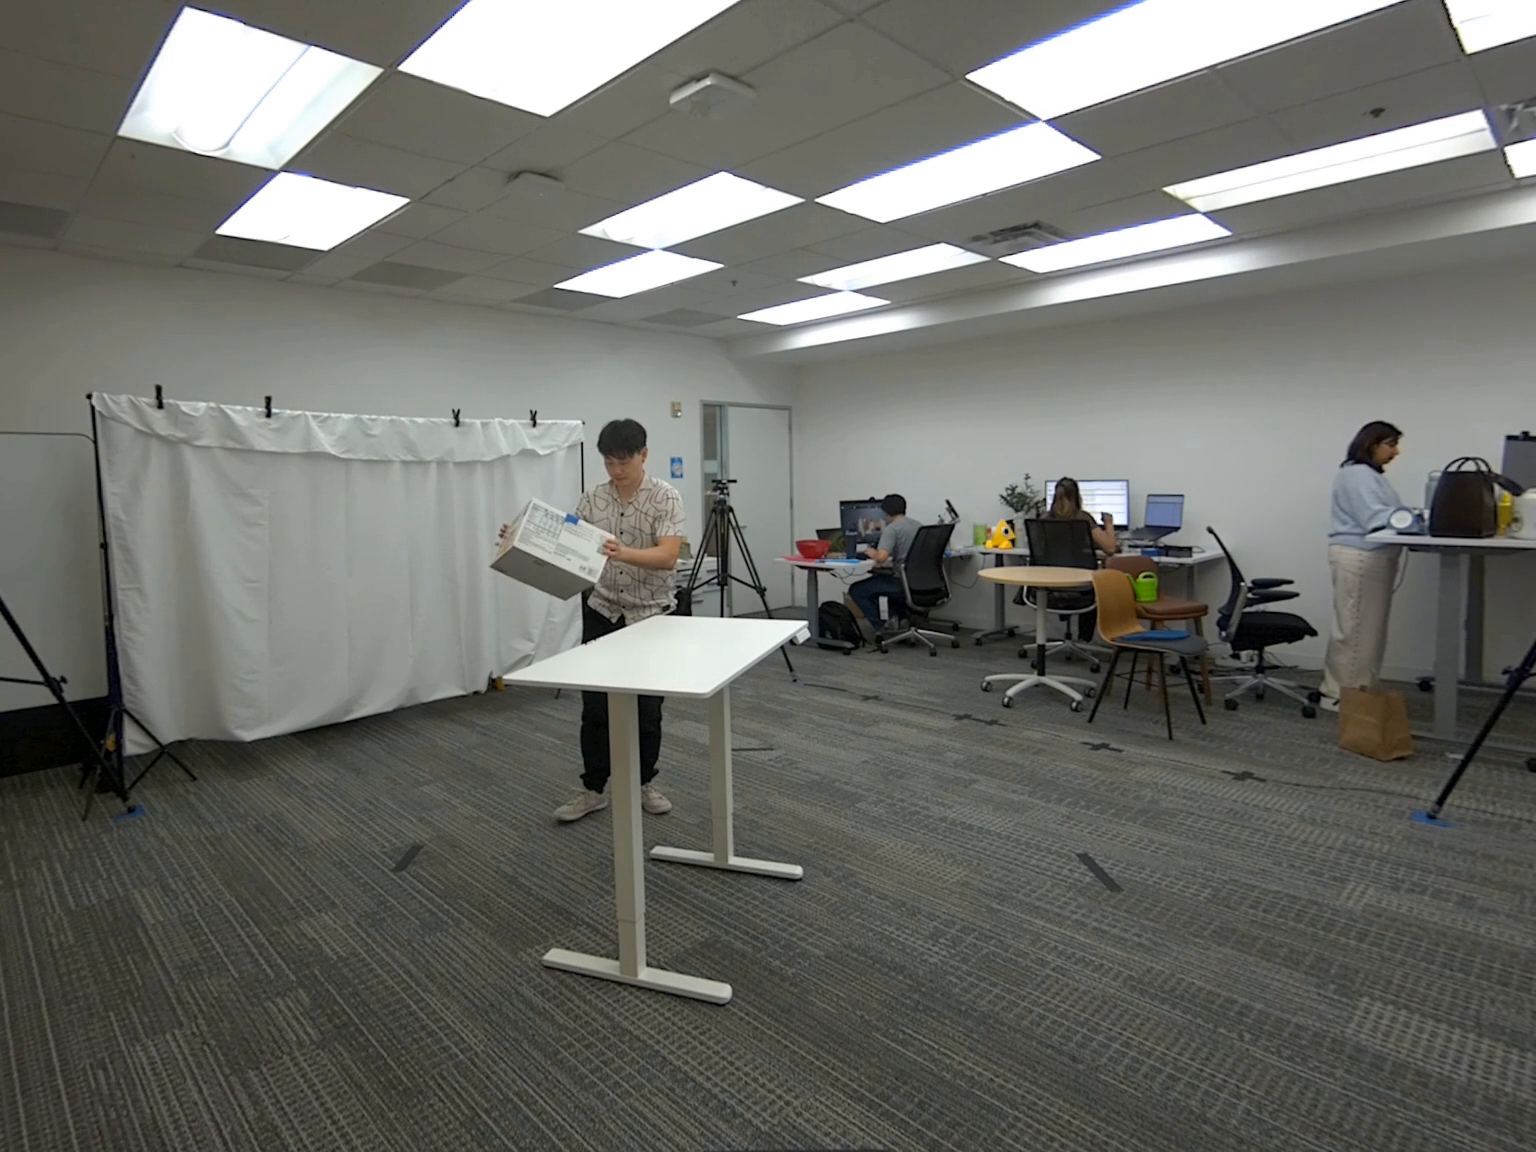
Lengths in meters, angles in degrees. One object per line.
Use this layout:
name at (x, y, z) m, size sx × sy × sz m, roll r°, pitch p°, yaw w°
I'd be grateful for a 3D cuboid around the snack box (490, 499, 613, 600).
snack box at (-0.842, -0.084, 3.281) m, size 0.332 × 0.208 × 0.410 m, roll 26°, pitch -23°, yaw -21°
